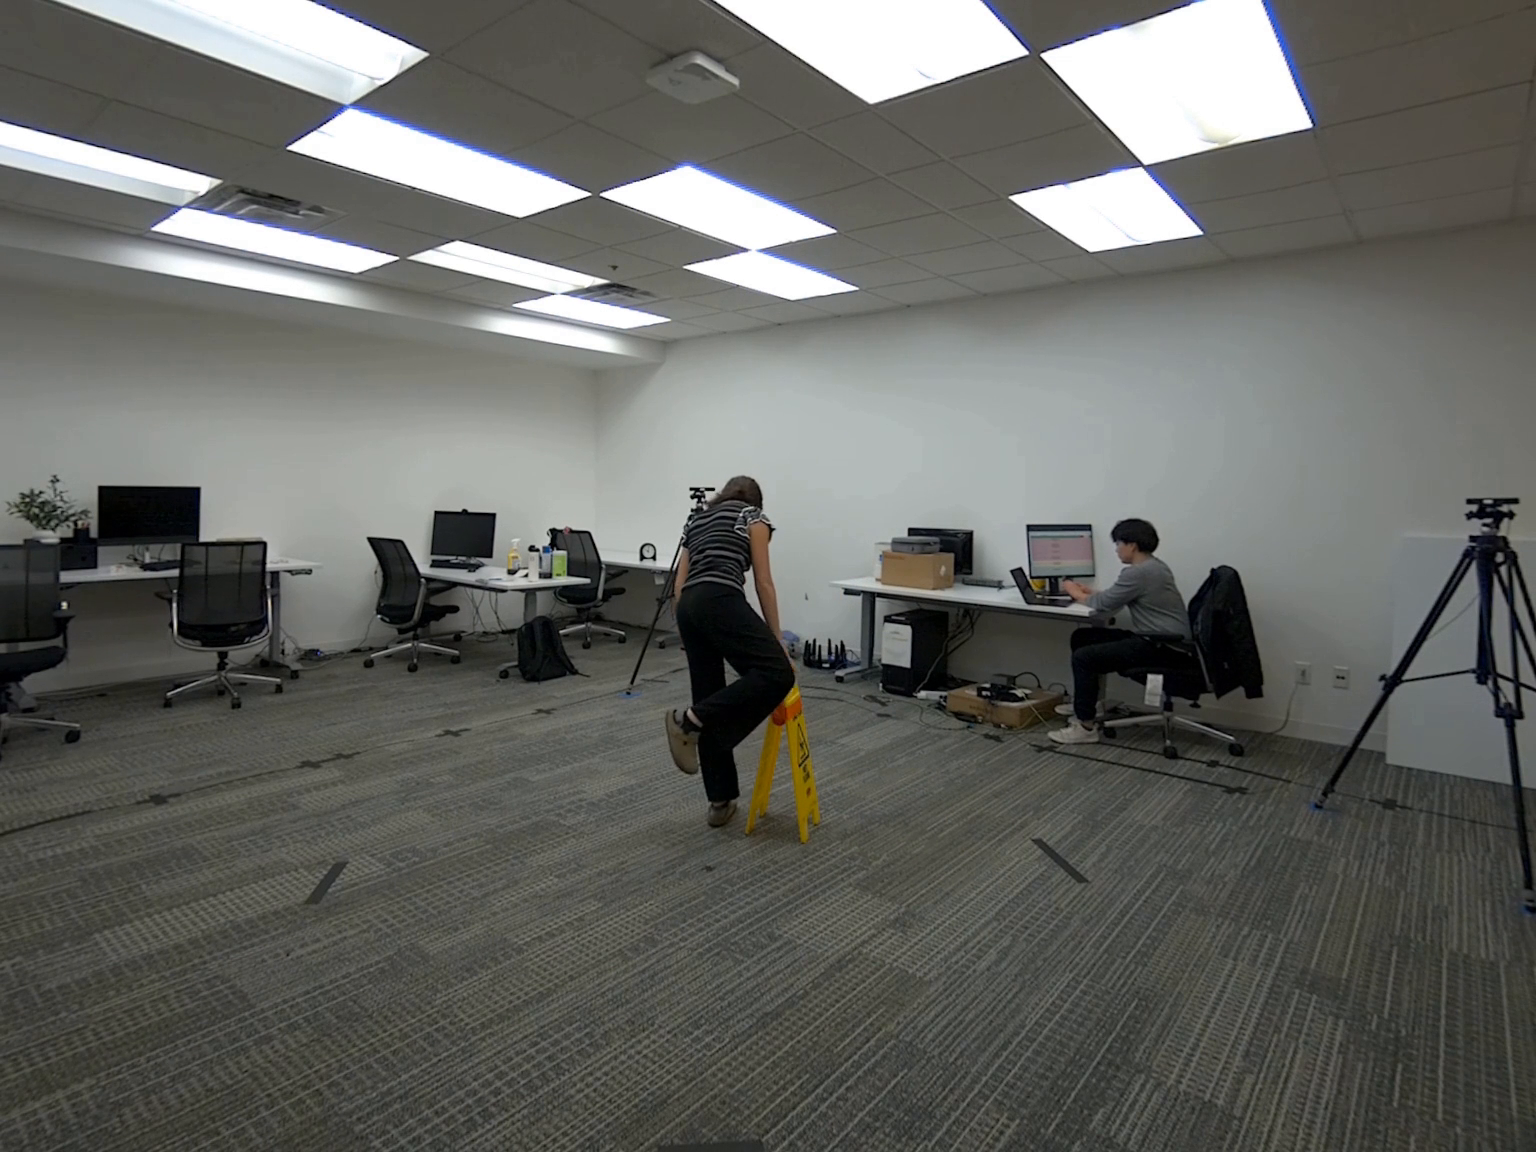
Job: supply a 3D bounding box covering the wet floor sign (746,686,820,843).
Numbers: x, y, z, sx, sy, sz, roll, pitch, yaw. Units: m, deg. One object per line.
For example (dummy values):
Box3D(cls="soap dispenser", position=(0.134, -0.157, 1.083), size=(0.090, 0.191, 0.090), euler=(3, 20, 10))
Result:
Box3D(cls="wet floor sign", position=(0.064, 0.711, 3.502), size=(0.295, 0.644, 0.278), euler=(4, 4, 17))
